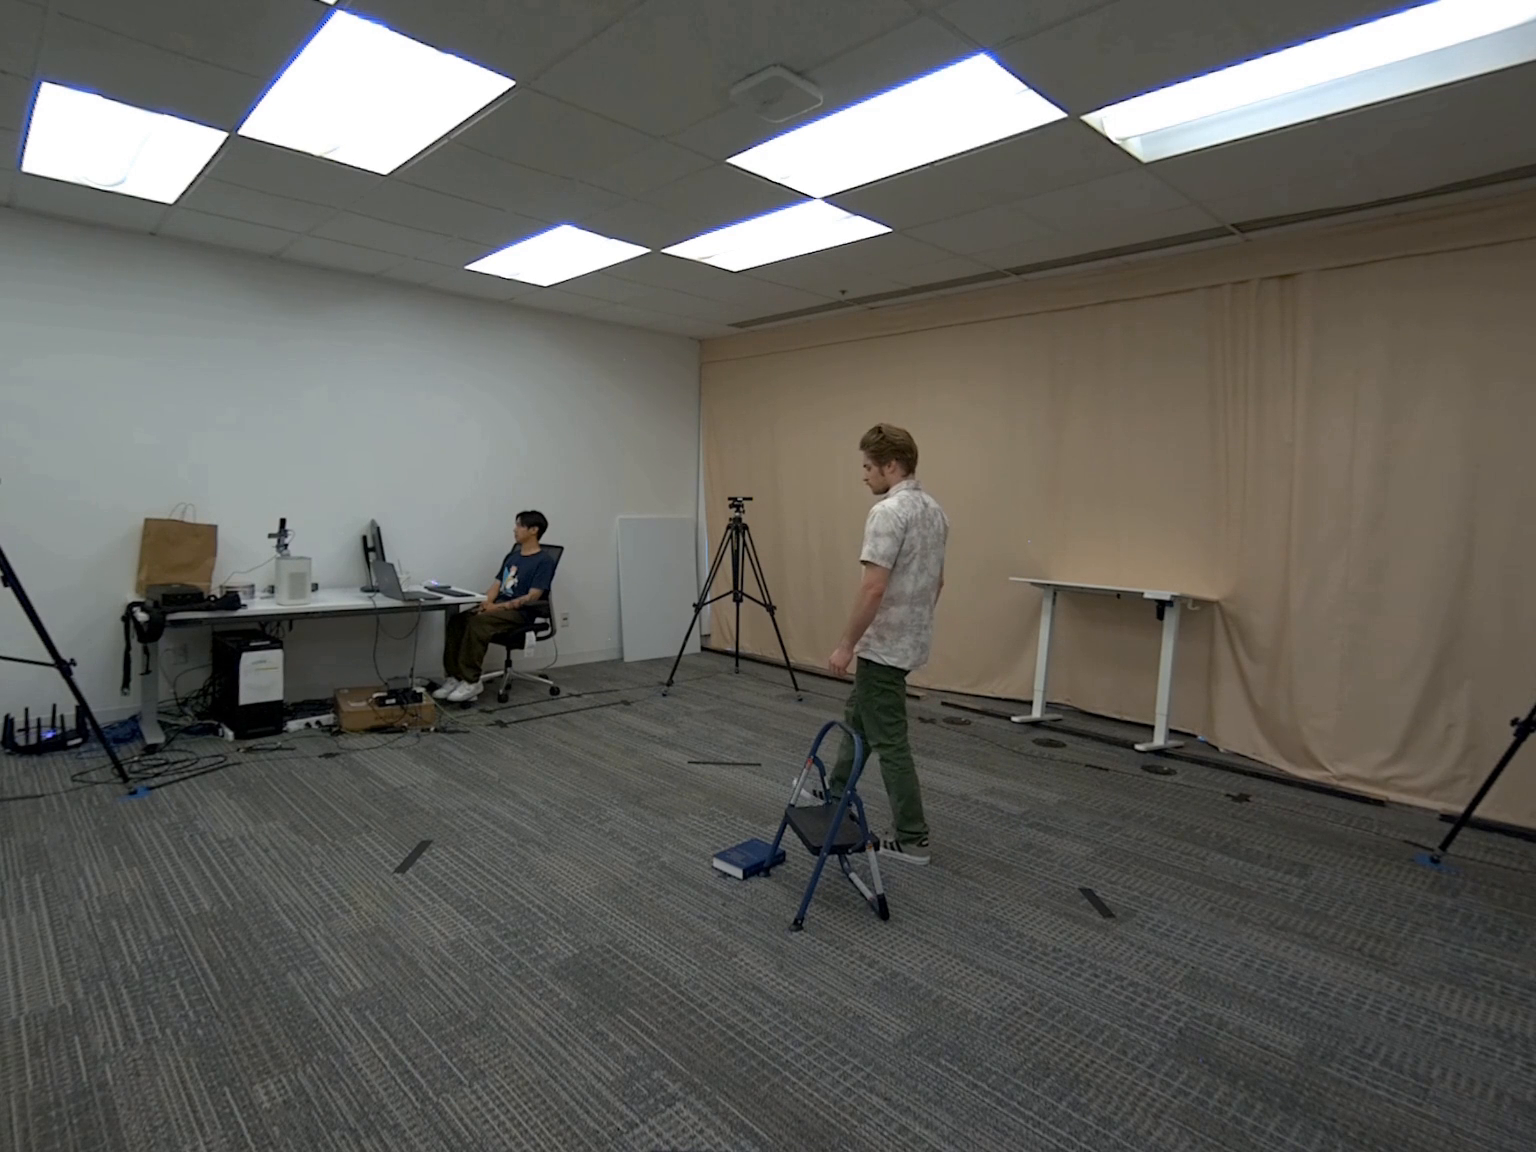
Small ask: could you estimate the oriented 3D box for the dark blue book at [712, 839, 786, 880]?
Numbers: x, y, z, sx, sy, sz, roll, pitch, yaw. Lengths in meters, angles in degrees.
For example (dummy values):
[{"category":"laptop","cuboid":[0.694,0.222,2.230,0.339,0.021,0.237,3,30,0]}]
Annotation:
[{"category":"dark blue book","cuboid":[-0.075,1.073,3.207,0.167,0.045,0.239,6,7,42]}]
